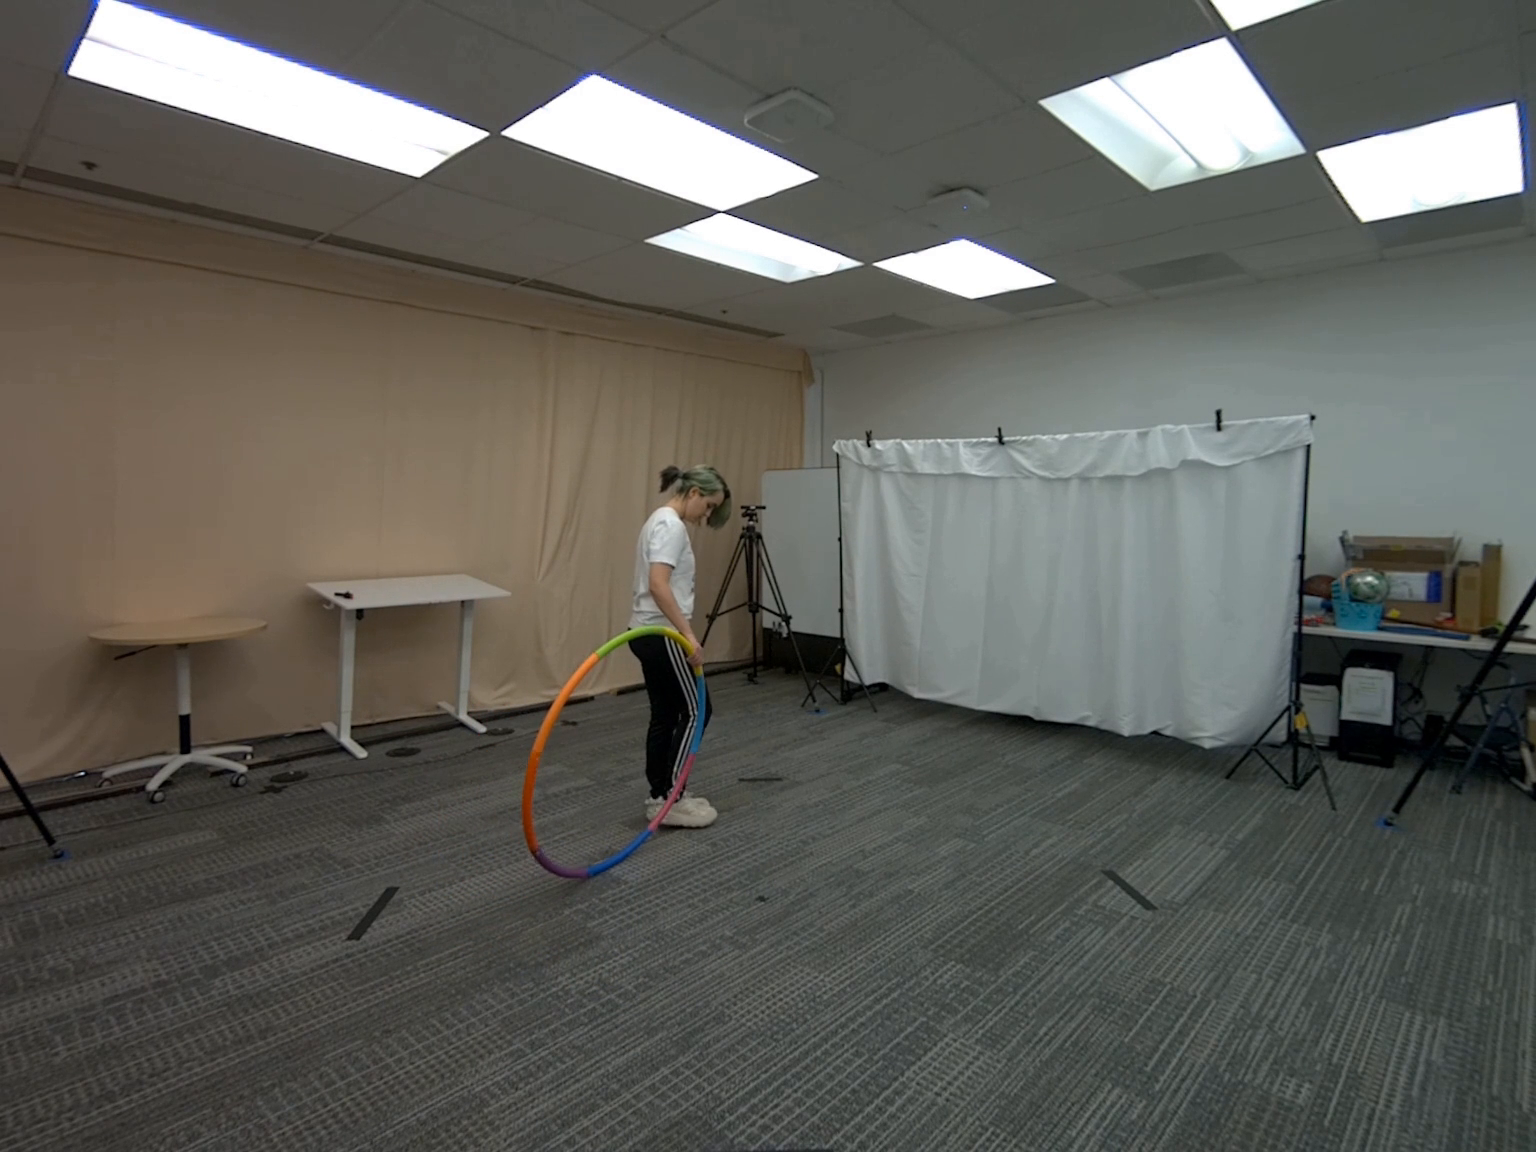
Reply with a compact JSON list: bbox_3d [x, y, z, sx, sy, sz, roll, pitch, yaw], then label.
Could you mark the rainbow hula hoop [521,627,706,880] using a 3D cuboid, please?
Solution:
[{"bbox_3d":[-0.538,0.656,3.170,0.037,0.974,0.952,17,12,30],"label":"rainbow hula hoop"}]
